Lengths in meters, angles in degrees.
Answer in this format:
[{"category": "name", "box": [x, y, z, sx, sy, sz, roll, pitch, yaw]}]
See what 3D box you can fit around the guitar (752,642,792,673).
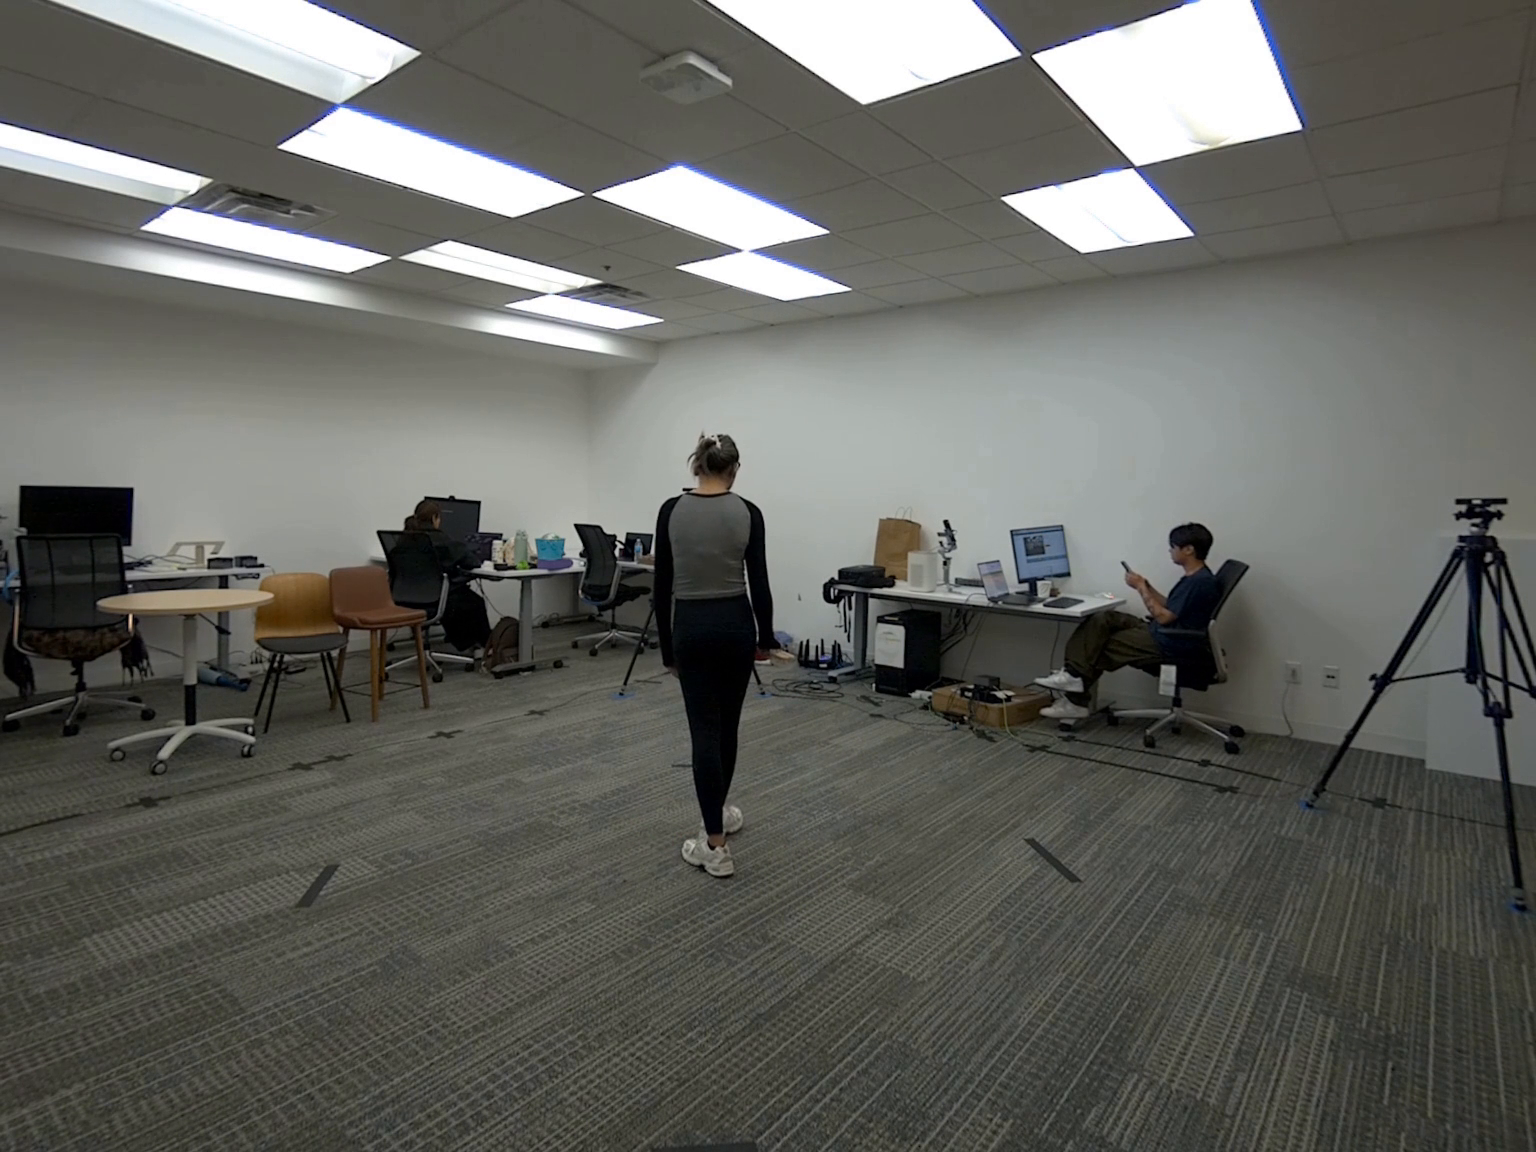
[{"category": "guitar", "box": [-0.070, 0.294, 3.406, 0.190, 0.070, 0.507, -1, 7, -14]}]
